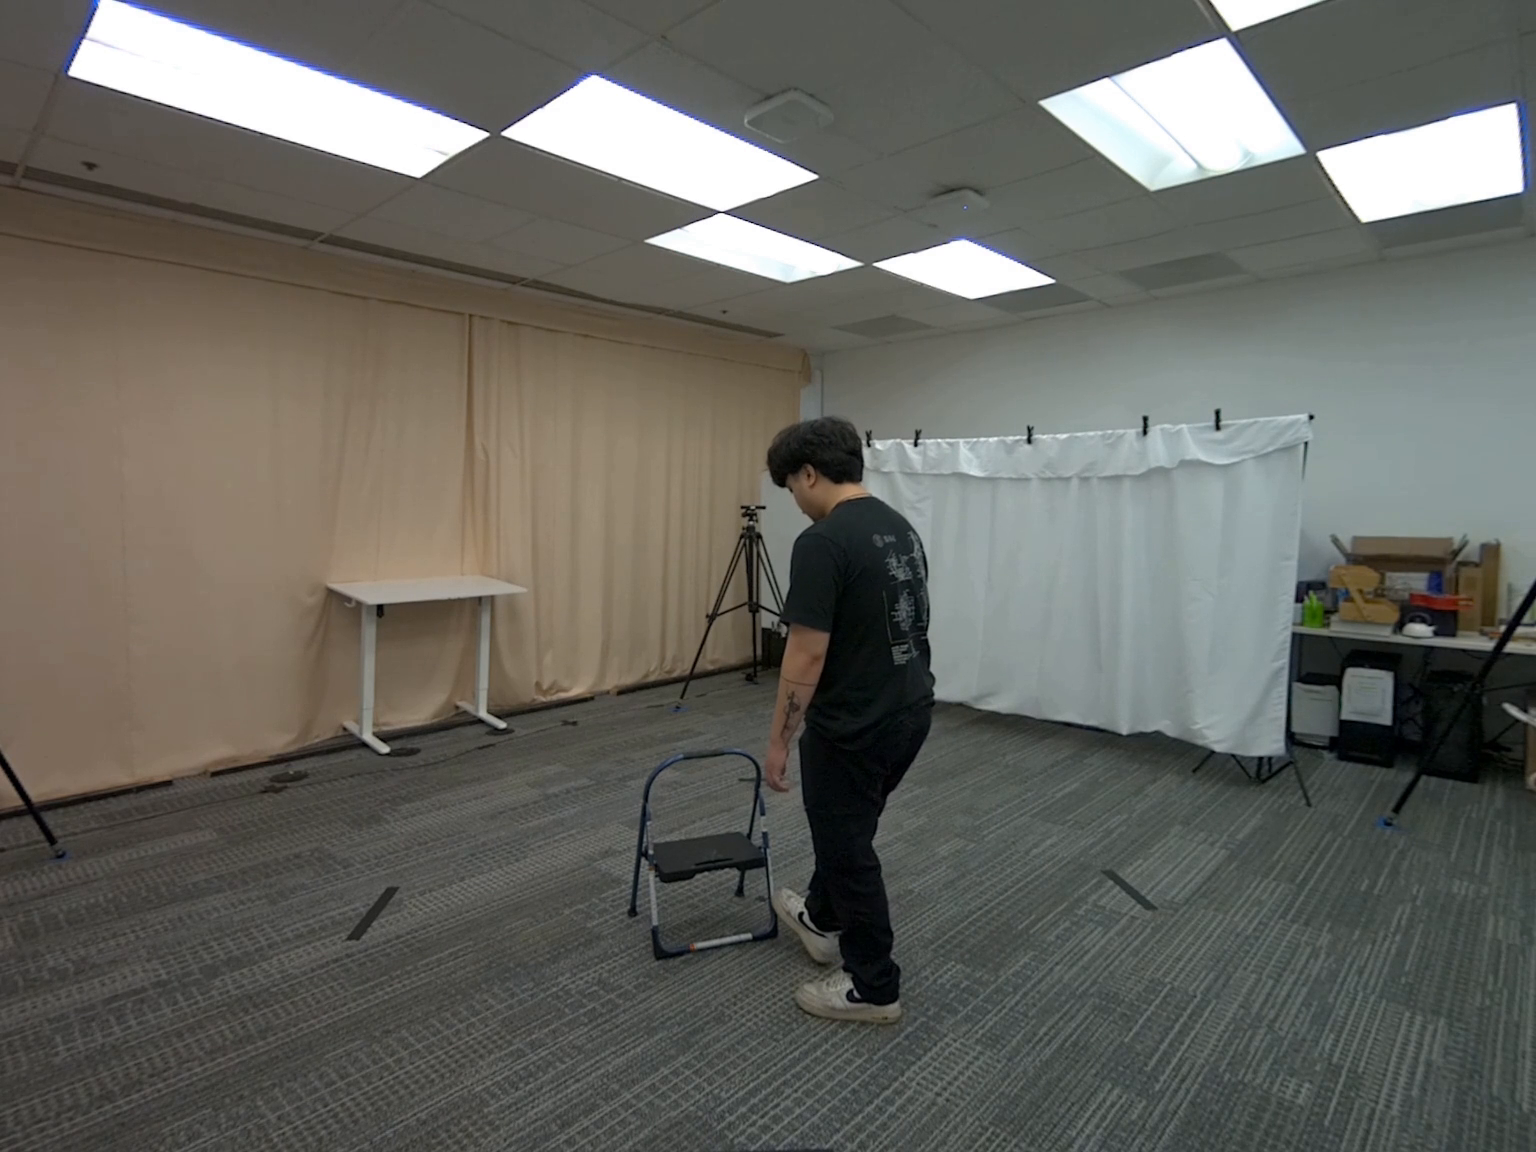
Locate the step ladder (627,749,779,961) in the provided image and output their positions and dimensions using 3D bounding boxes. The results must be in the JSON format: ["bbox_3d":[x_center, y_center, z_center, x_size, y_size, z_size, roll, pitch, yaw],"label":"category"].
[{"bbox_3d":[-0.224,0.858,2.790,0.421,0.605,0.357,-2,3,-22],"label":"step ladder"}]
